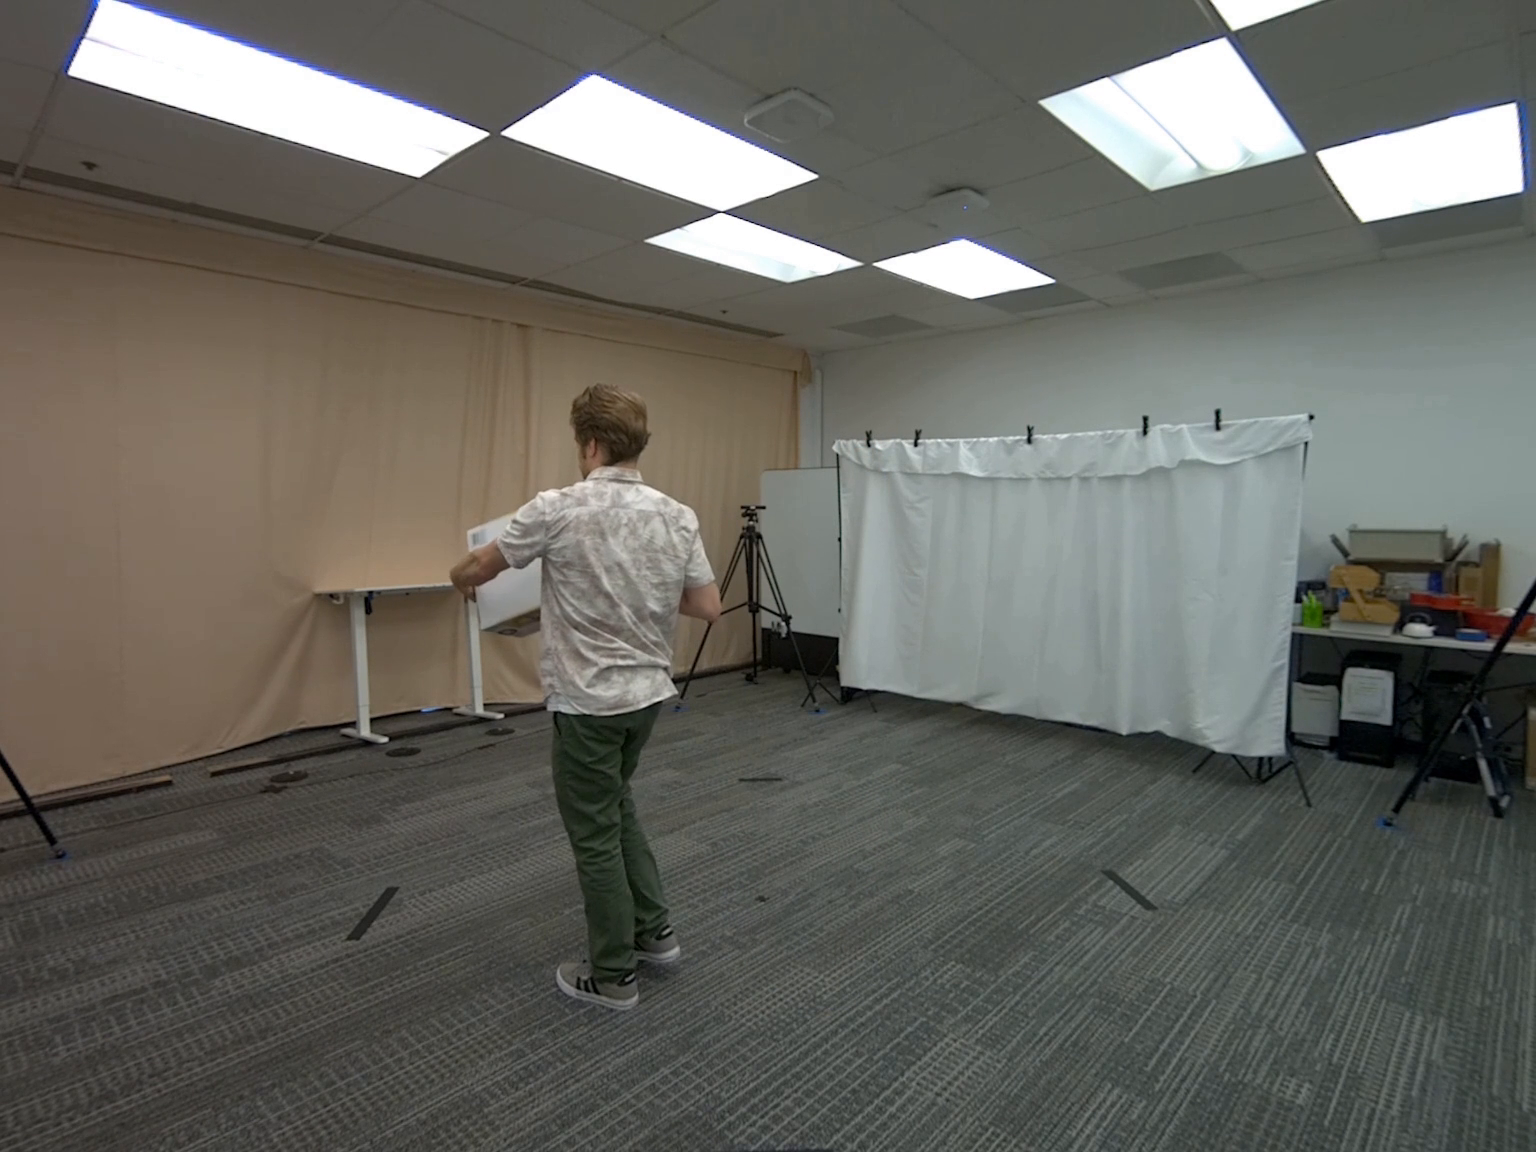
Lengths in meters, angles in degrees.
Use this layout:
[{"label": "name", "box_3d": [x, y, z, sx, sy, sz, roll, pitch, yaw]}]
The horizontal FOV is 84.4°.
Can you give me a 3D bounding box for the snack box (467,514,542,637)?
[{"label": "snack box", "box_3d": [-0.711, -0.032, 2.683, 0.411, 0.345, 0.199, -20, -18, 20]}]
